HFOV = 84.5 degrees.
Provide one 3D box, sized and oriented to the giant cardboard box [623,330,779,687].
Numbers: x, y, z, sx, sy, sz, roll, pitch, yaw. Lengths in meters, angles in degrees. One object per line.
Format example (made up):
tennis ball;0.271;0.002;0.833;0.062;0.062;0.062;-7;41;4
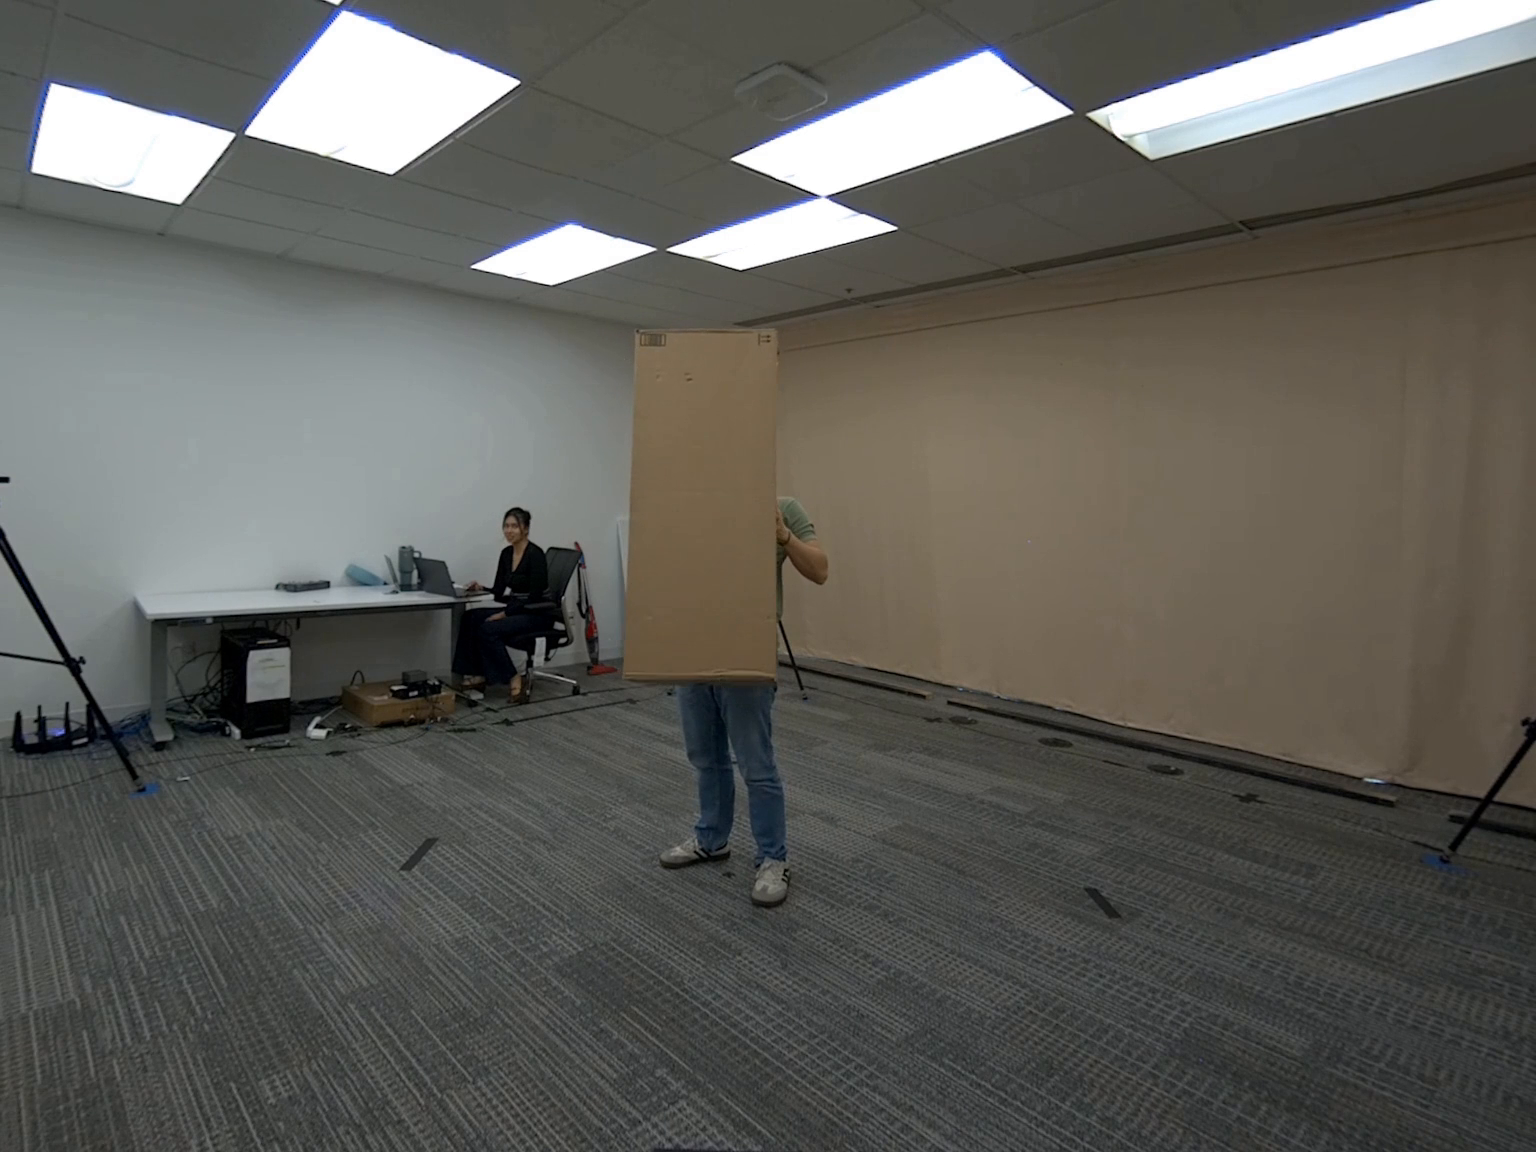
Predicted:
giant cardboard box;-0.200;-0.181;2.656;0.427;1.034;0.572;0;-10;0
